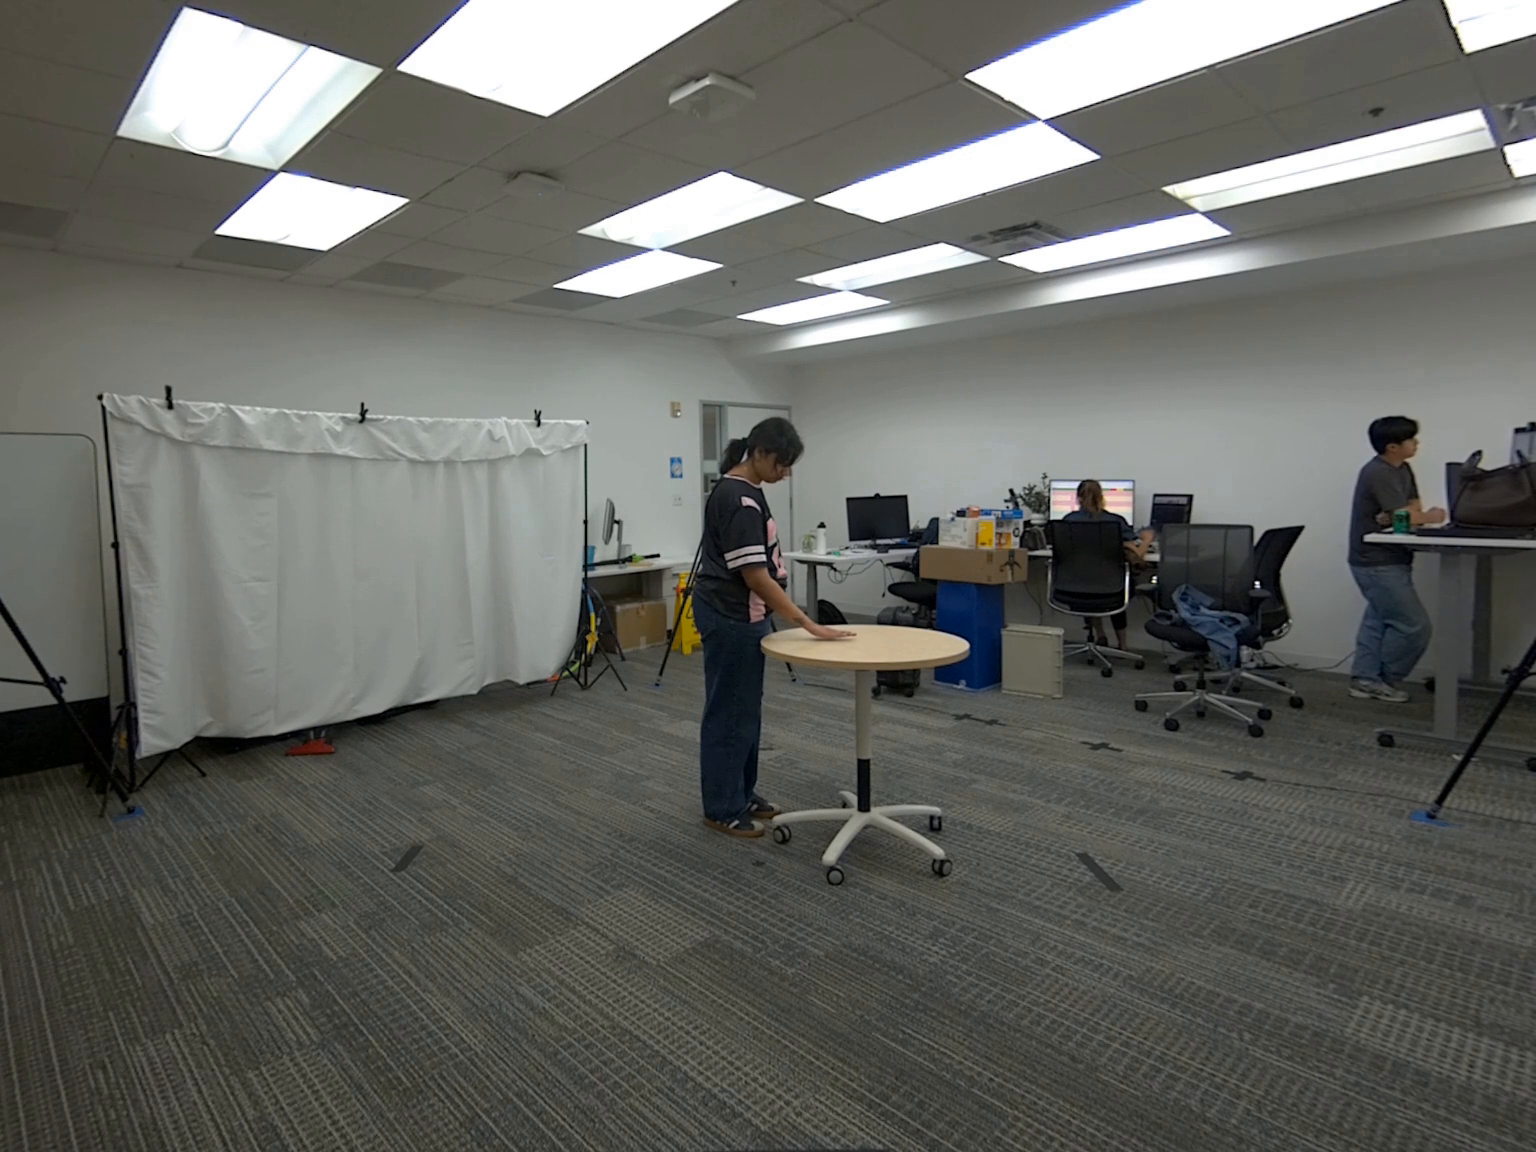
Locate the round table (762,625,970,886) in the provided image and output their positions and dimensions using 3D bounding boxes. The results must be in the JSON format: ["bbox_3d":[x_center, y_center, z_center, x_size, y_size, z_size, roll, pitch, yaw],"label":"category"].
[{"bbox_3d":[0.372,0.635,3.222,0.784,0.783,0.789,-1,5,-2],"label":"round table"}]
